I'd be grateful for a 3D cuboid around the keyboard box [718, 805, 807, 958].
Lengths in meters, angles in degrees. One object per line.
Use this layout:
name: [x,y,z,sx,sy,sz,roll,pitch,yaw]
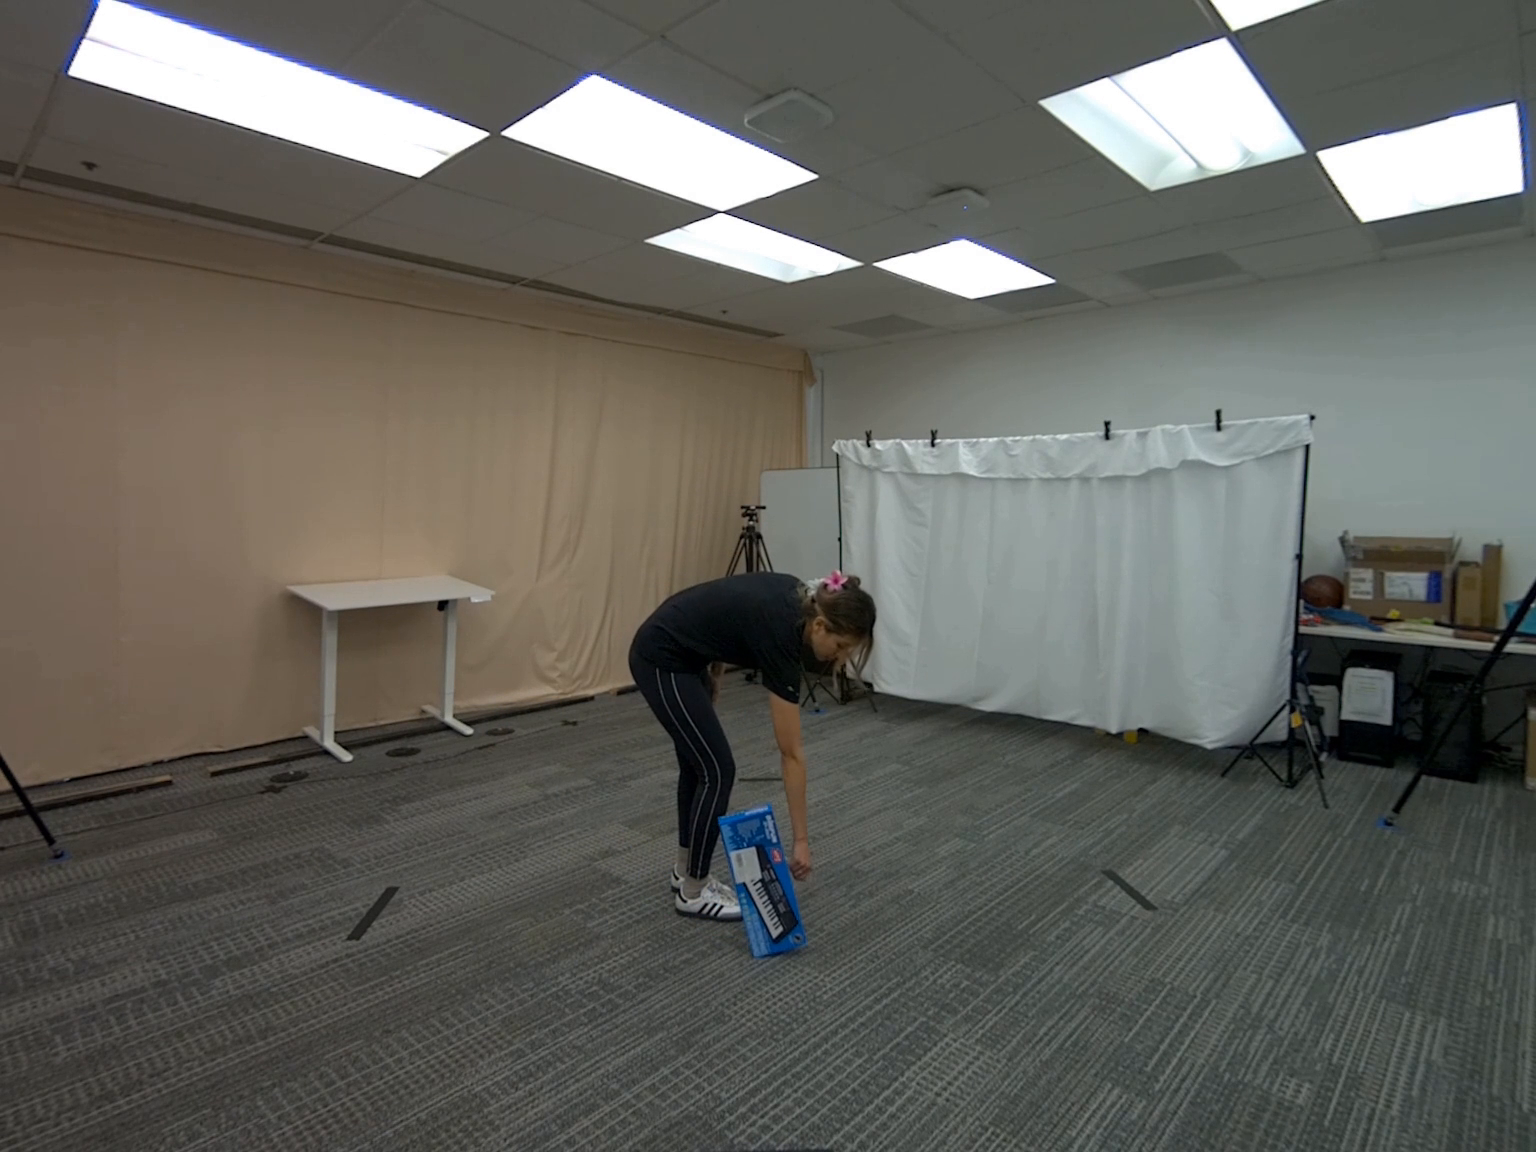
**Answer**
keyboard box: [-0.017,0.947,2.608,0.176,0.435,0.059,-13,4,-1]
